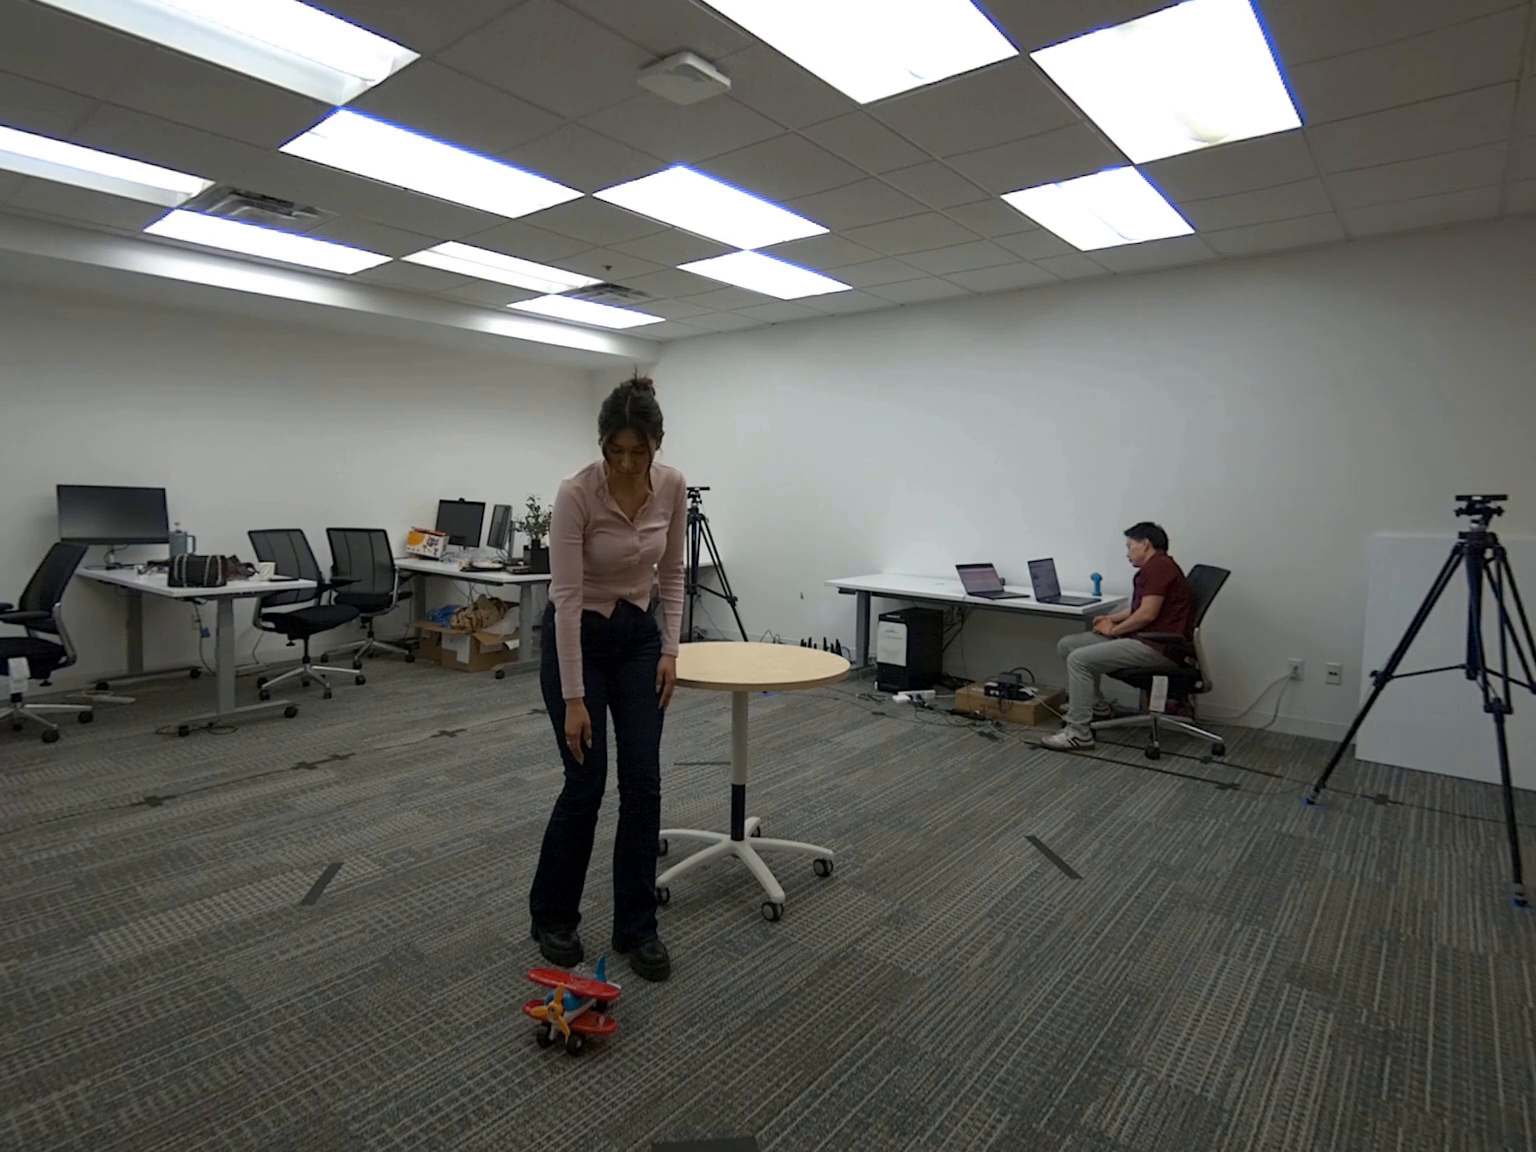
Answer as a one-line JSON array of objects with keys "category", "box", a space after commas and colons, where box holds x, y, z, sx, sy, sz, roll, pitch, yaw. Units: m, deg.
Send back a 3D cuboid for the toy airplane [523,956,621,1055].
[{"category": "toy airplane", "box": [-0.509, 1.080, 2.183, 0.249, 0.156, 0.262, 0, 6, -8]}]
